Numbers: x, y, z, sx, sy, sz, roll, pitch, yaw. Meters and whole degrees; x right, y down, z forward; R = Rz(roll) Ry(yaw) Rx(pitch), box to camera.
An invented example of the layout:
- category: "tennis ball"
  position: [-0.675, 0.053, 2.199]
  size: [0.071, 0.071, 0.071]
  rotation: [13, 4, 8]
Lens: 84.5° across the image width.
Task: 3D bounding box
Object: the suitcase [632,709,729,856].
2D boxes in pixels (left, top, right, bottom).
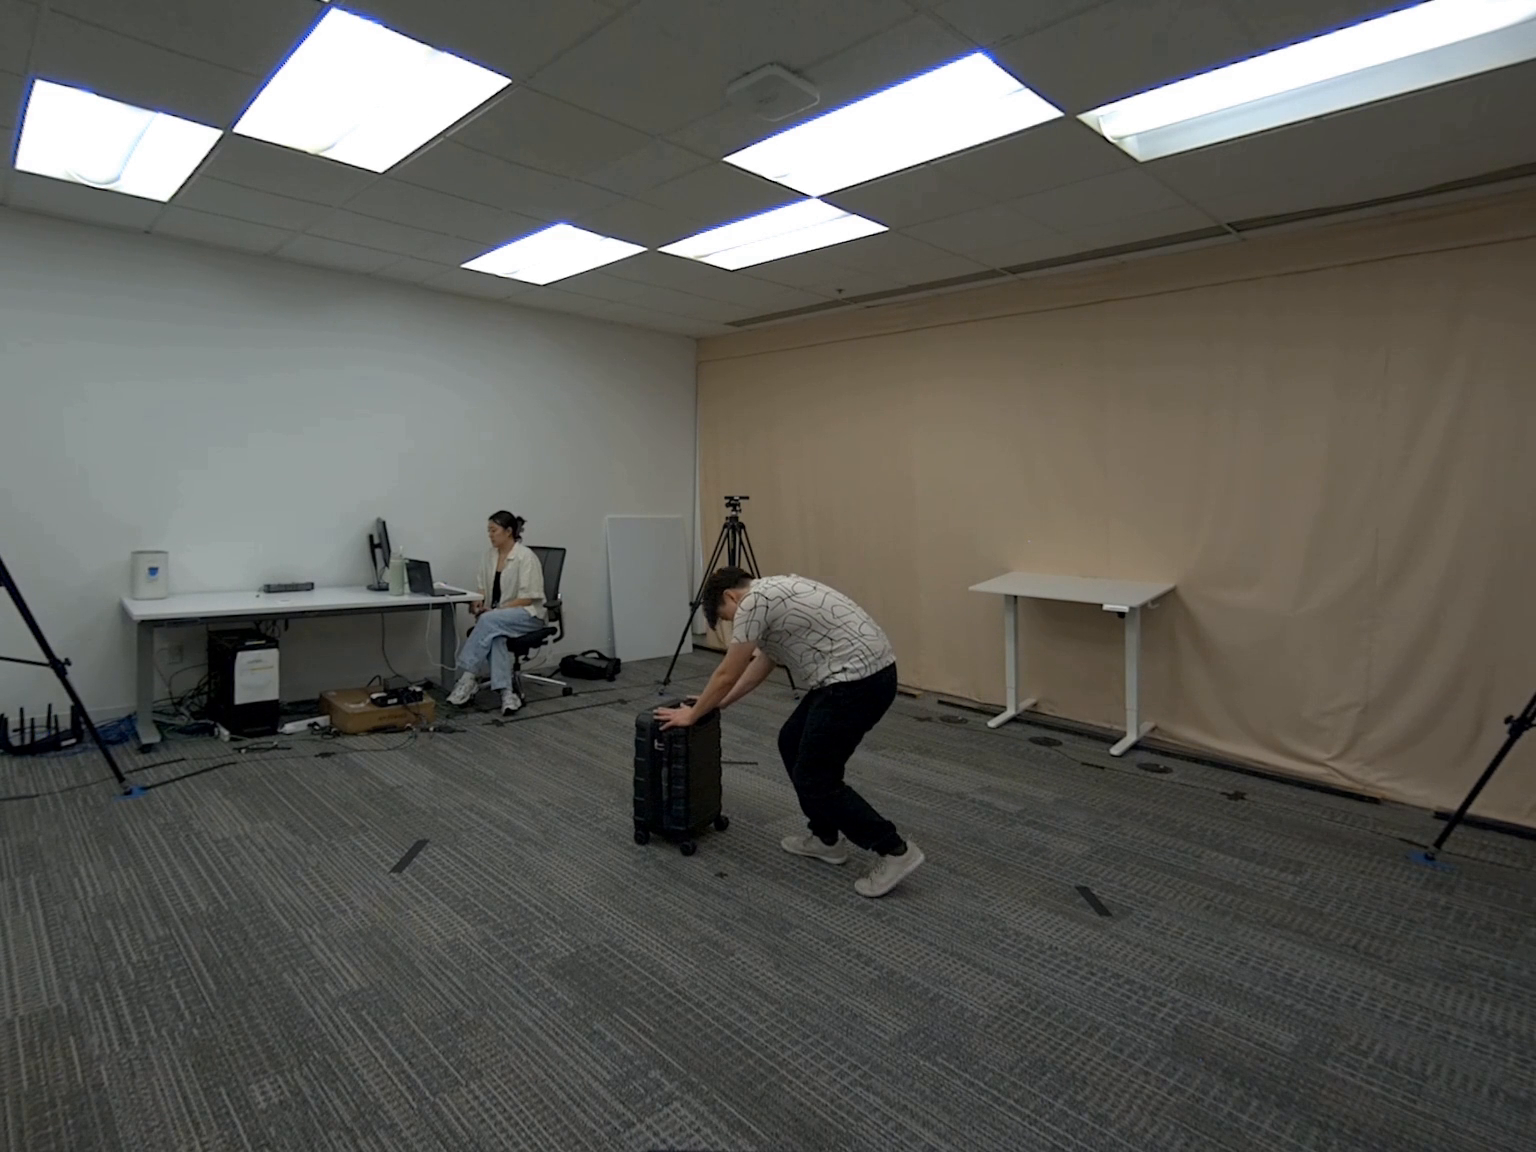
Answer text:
- category: "suitcase"
  position: [-0.370, 0.791, 3.454]
  size: [0.253, 0.548, 0.368]
  rotation: [0, 3, 28]
